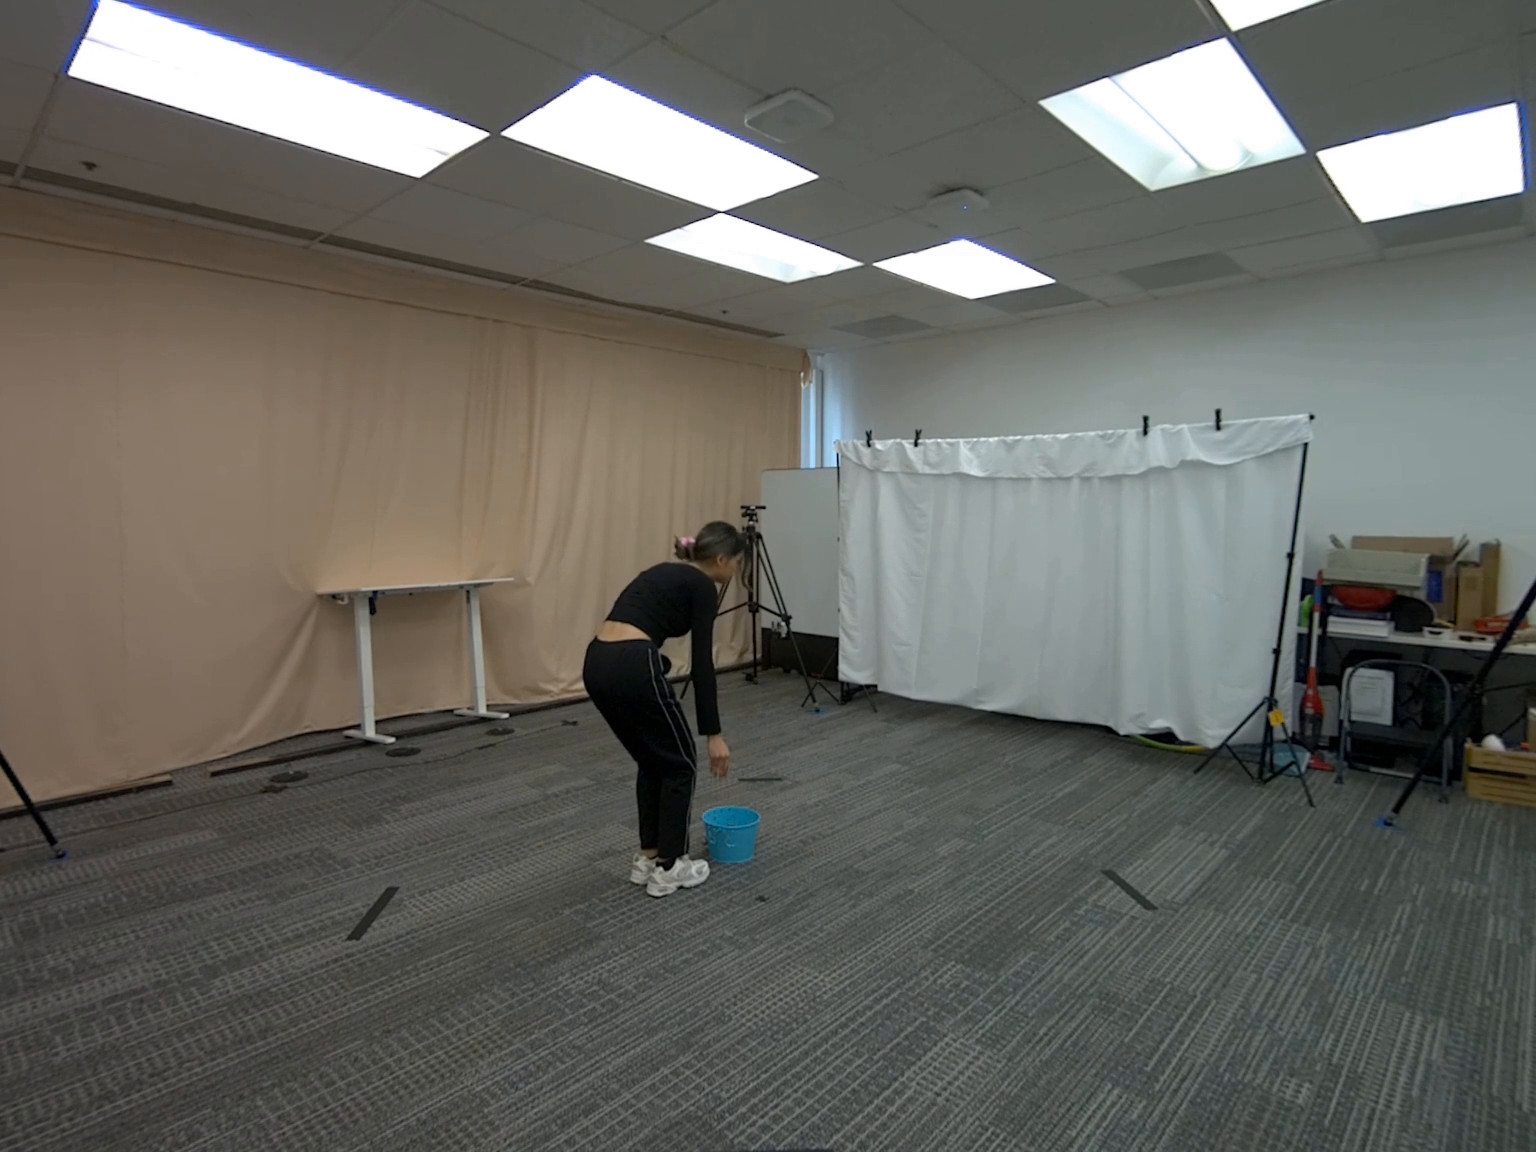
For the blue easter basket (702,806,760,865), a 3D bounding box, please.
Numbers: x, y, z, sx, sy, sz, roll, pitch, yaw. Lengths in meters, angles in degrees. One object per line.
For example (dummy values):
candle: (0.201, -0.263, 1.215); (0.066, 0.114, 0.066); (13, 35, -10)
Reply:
blue easter basket: (-0.145, 1.036, 3.359); (0.243, 0.155, 0.244); (0, 4, -2)
